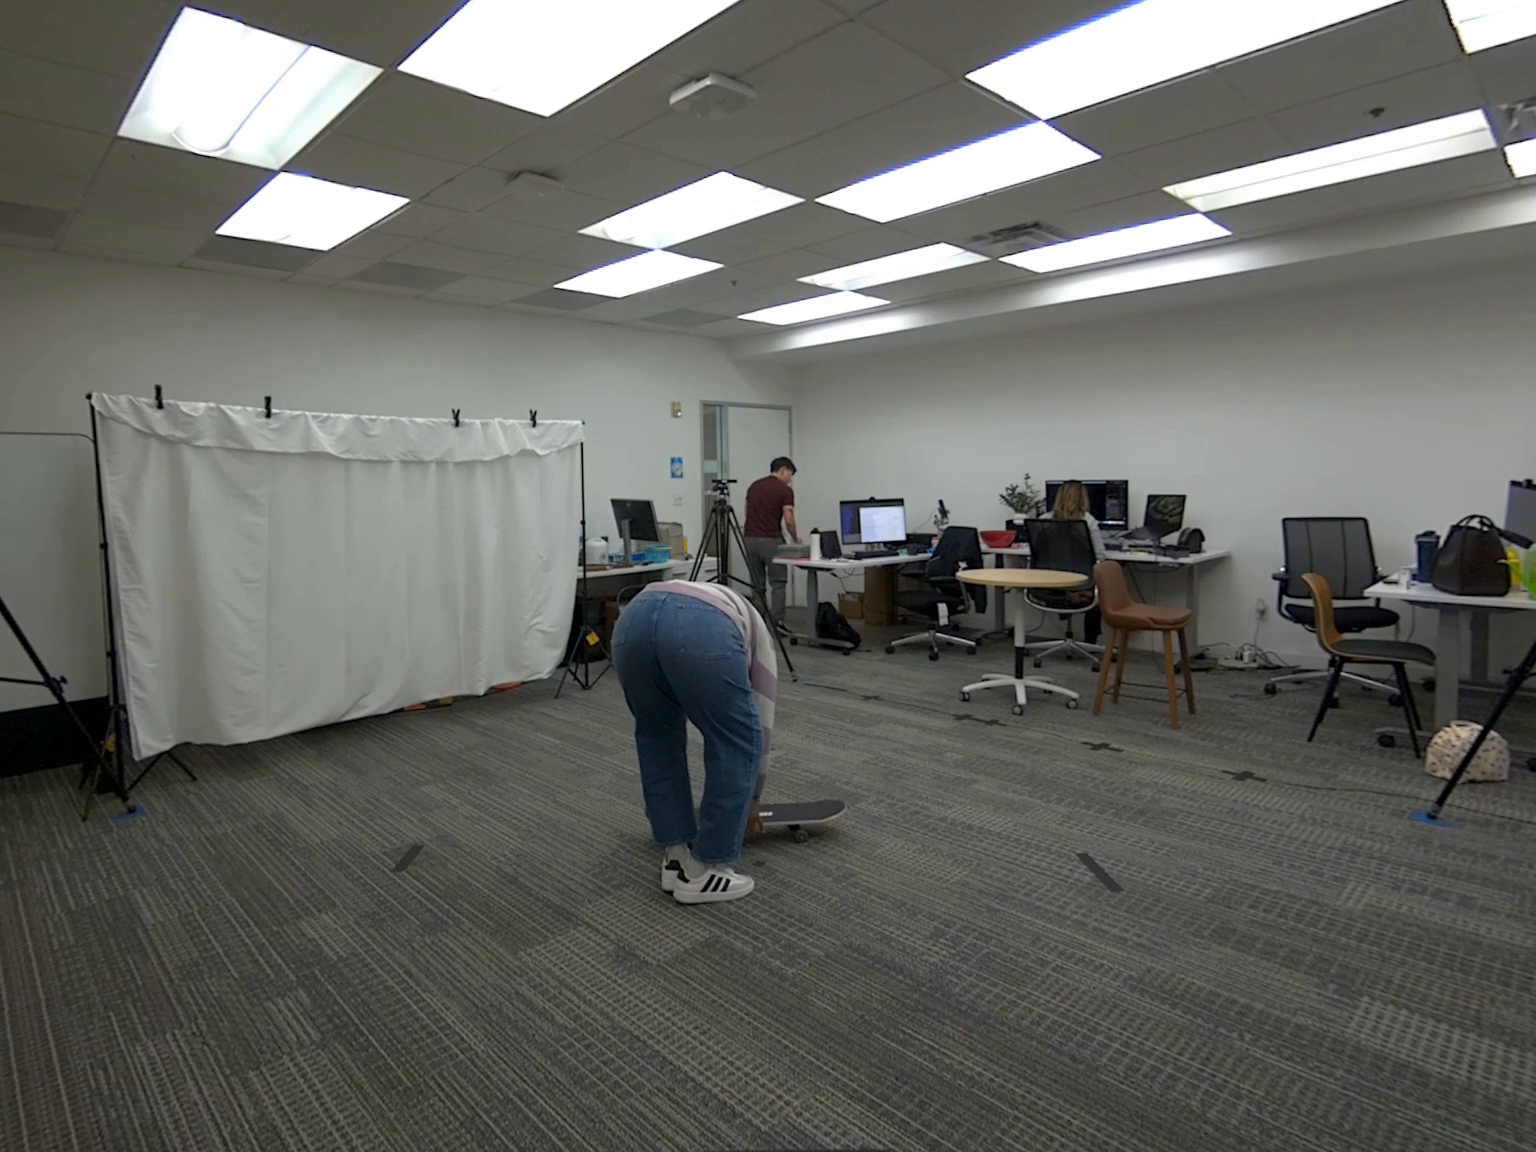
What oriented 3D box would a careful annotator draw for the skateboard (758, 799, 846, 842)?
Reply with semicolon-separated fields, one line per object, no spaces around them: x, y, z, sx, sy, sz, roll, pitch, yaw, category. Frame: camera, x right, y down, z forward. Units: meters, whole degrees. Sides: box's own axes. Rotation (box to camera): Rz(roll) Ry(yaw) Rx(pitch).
-0.092;0.959;3.342;0.780;0.110;0.195;-1;5;-7;skateboard
